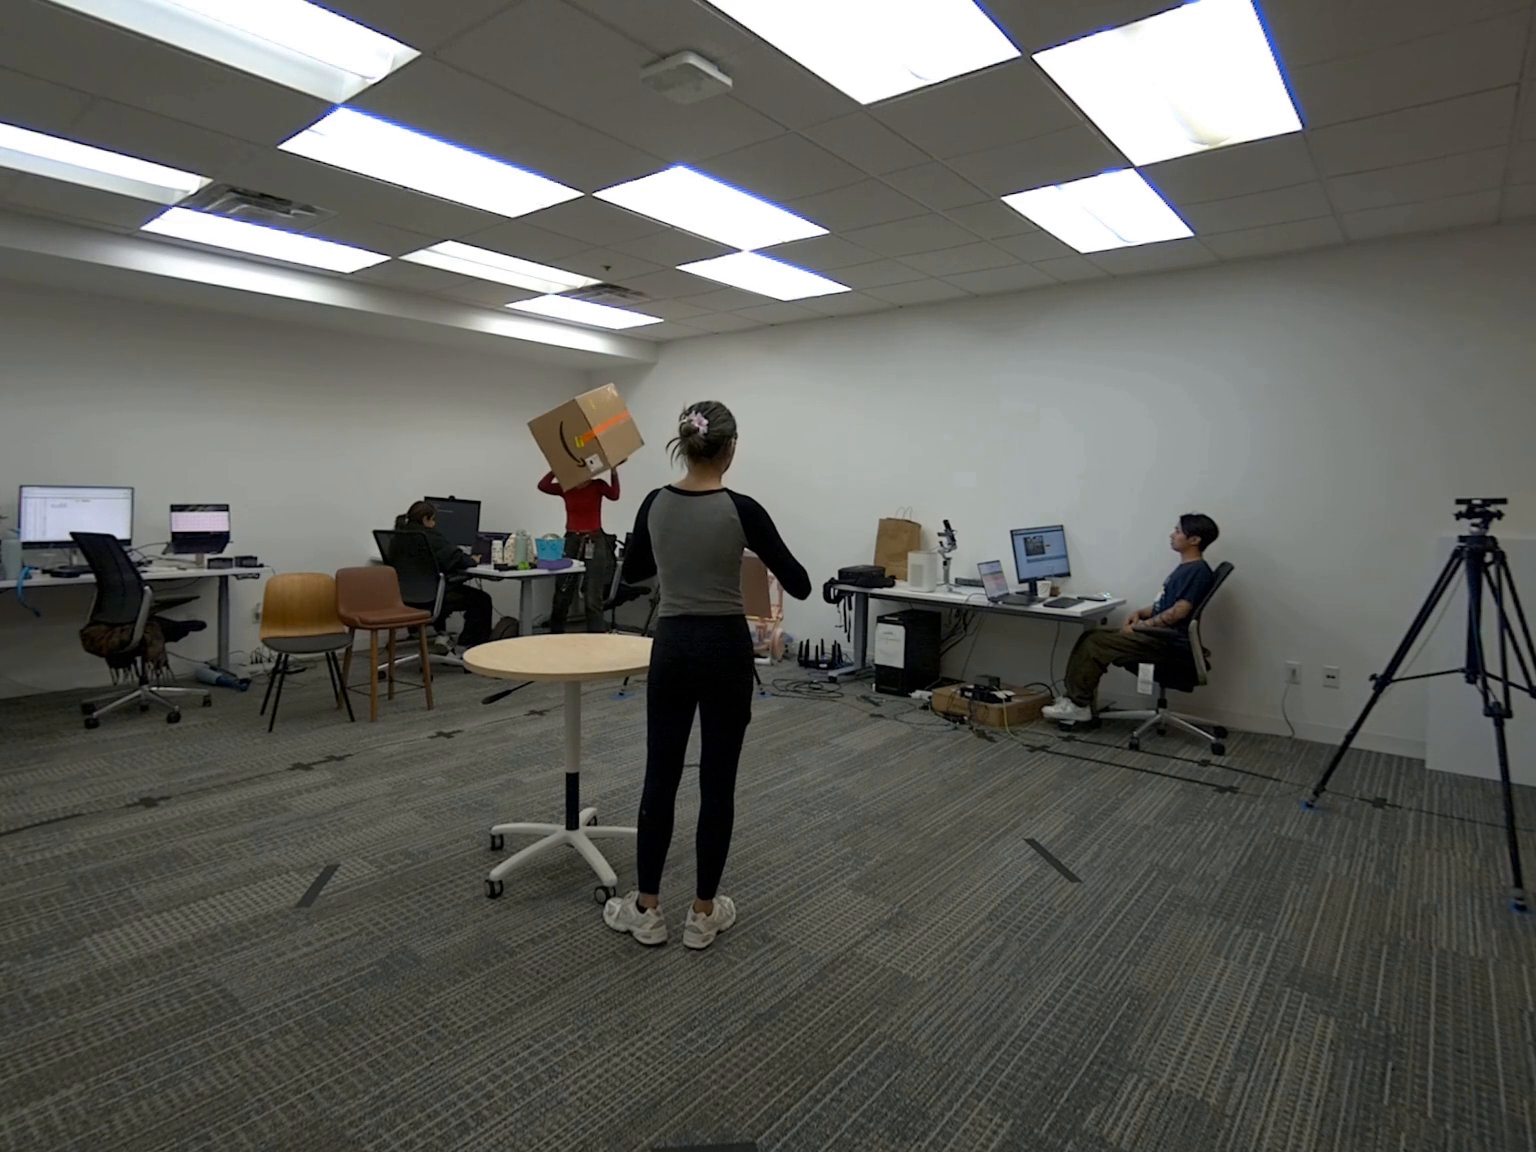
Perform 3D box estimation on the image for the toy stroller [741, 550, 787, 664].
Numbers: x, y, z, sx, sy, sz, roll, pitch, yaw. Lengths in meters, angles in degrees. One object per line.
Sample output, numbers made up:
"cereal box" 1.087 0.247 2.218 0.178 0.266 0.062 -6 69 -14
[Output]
"toy stroller" -0.070 0.045 3.033 0.288 0.525 0.340 5 20 19
